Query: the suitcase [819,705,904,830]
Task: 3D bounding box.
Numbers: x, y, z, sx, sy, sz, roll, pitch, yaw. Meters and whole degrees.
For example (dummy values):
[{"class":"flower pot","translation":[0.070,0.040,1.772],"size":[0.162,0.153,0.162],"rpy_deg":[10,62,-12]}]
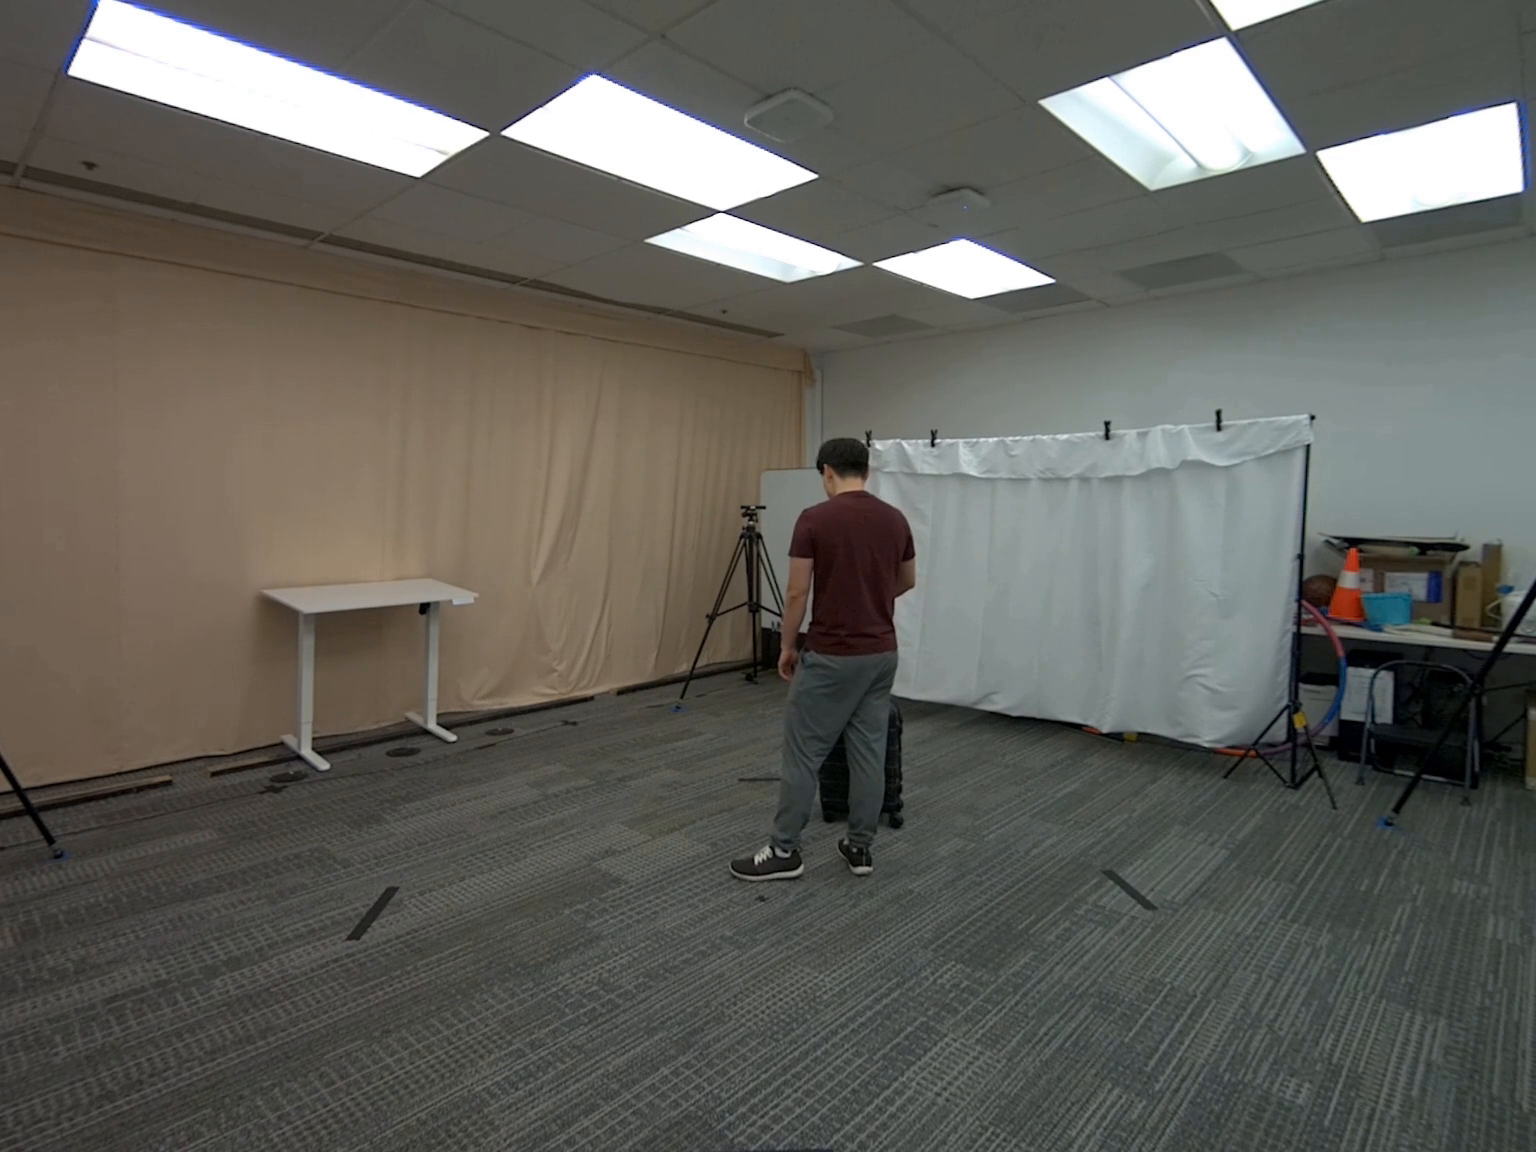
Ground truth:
[{"class":"suitcase","translation":[0.415,0.606,3.777],"size":[0.389,0.979,0.254],"rpy_deg":[-1,-1,10]}]
